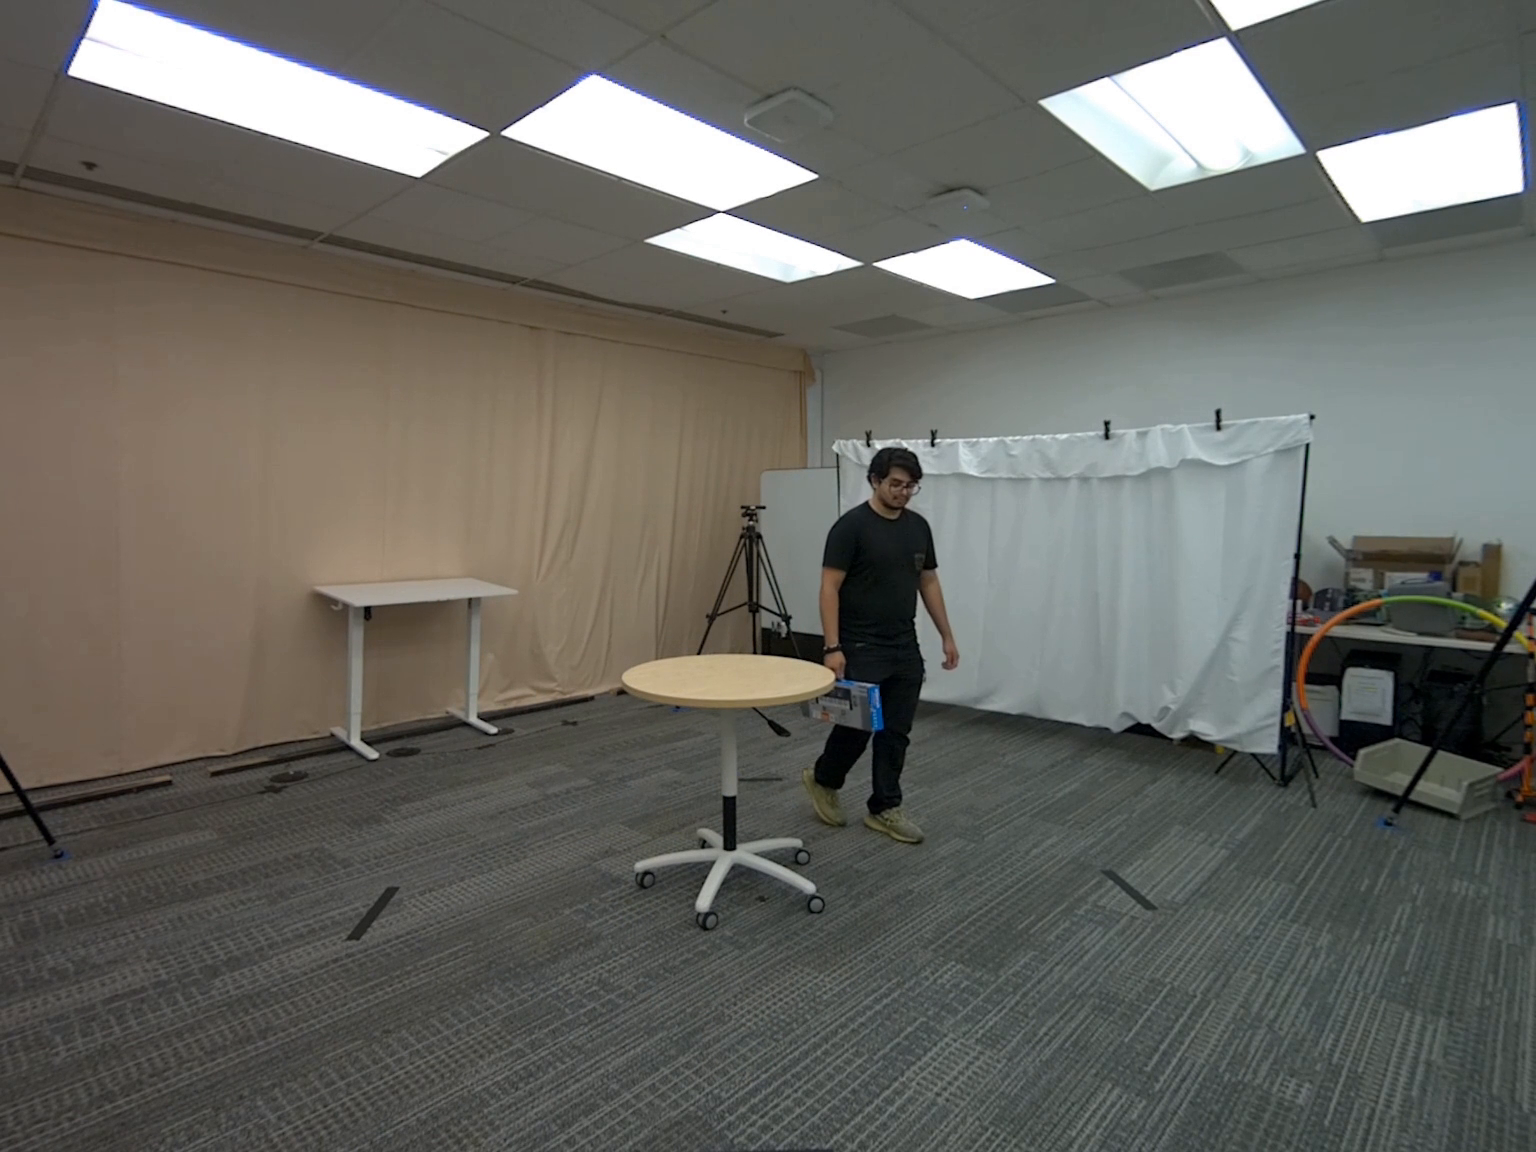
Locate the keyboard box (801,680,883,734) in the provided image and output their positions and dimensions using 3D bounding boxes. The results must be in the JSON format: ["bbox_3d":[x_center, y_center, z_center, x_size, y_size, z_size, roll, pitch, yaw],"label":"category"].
[{"bbox_3d":[0.279,0.511,3.417,0.057,0.175,0.450,-7,4,-34],"label":"keyboard box"}]
